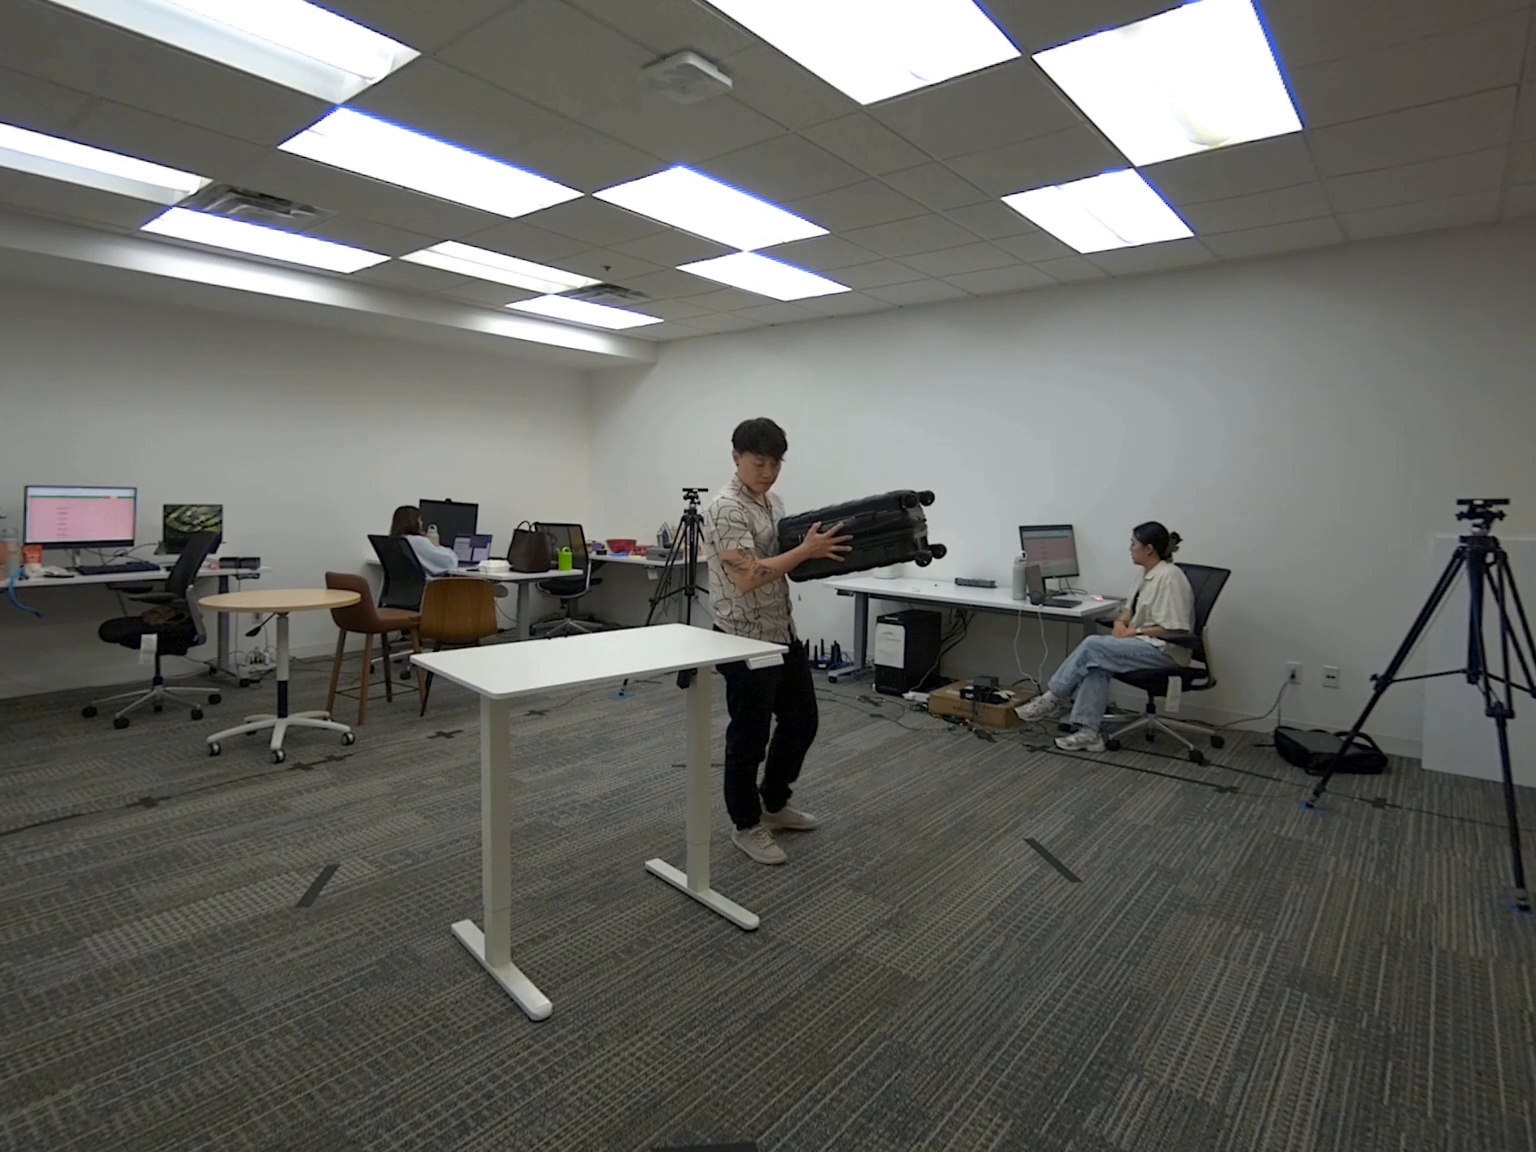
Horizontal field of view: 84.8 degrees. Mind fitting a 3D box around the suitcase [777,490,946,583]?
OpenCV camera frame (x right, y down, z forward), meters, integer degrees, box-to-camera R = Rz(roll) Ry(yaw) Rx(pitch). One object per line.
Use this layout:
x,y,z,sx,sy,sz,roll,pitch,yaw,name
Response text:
0.327,-0.151,3.165,0.560,0.249,0.367,-11,-1,23,suitcase
